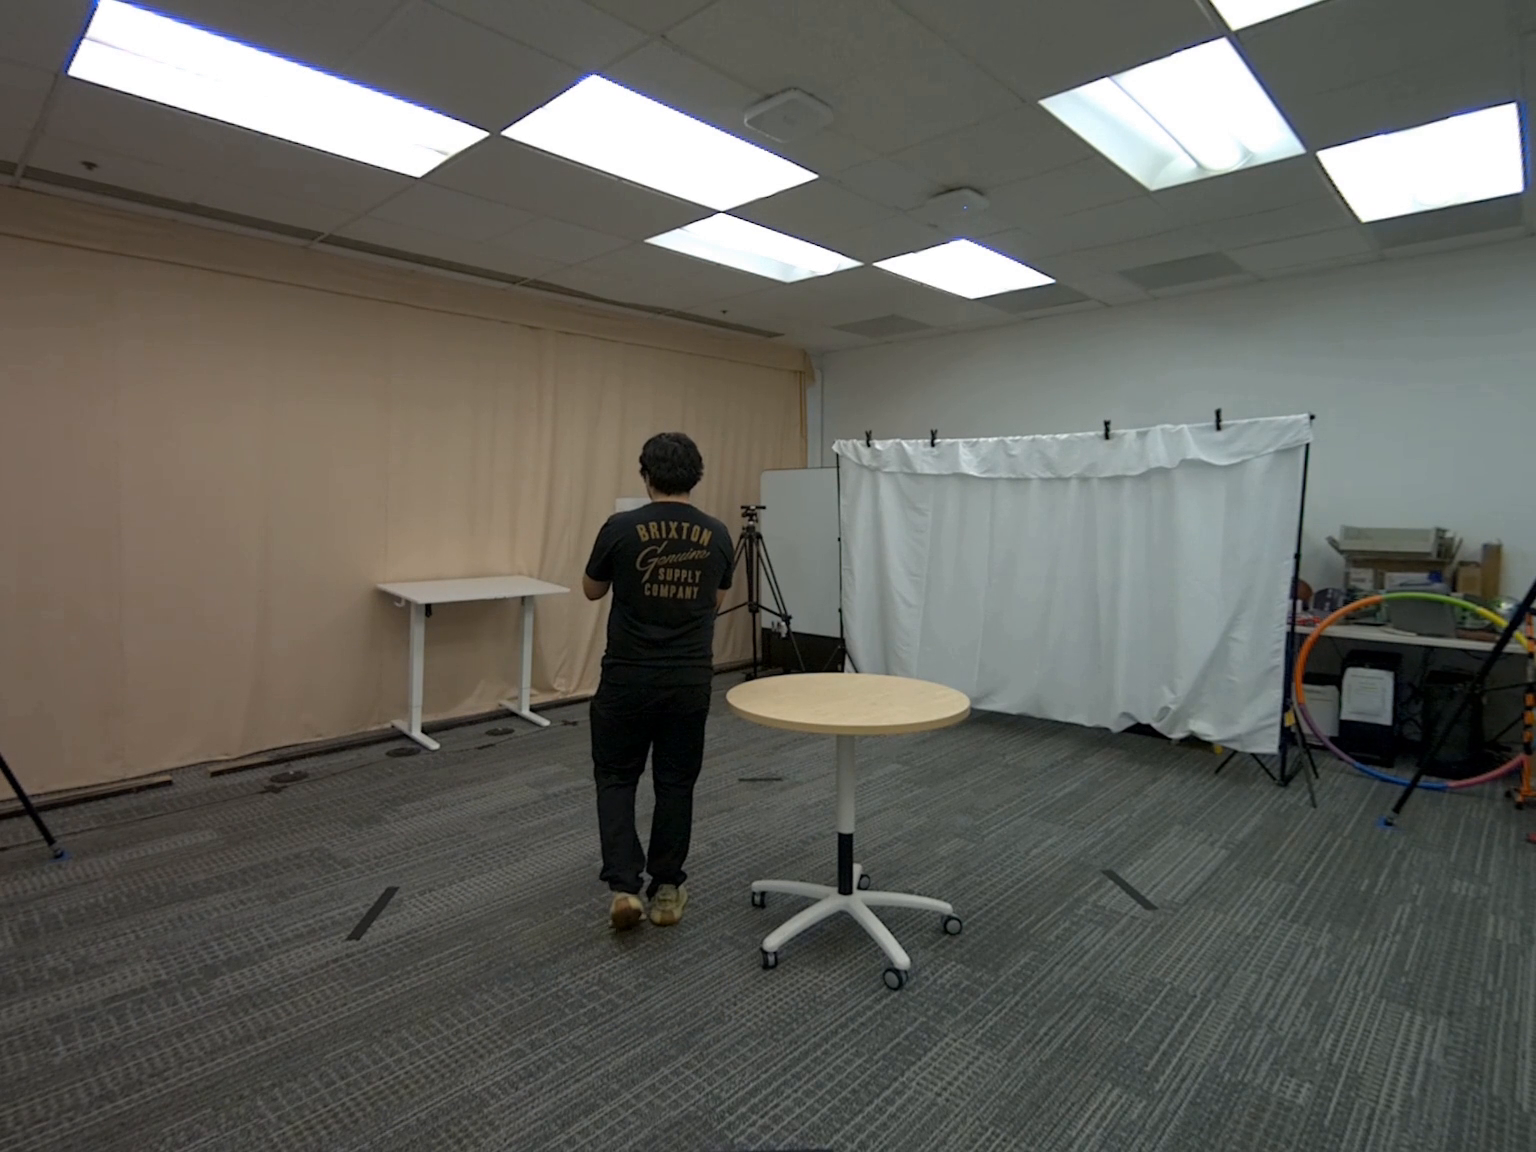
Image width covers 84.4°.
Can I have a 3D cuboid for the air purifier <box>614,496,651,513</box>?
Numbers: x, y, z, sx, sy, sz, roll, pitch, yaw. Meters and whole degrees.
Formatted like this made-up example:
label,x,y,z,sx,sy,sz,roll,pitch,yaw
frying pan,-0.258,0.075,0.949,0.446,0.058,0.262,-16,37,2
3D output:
label,x,y,z,sx,sy,sz,roll,pitch,yaw
air purifier,-0.482,-0.170,3.180,0.167,0.265,0.176,-7,5,-36
